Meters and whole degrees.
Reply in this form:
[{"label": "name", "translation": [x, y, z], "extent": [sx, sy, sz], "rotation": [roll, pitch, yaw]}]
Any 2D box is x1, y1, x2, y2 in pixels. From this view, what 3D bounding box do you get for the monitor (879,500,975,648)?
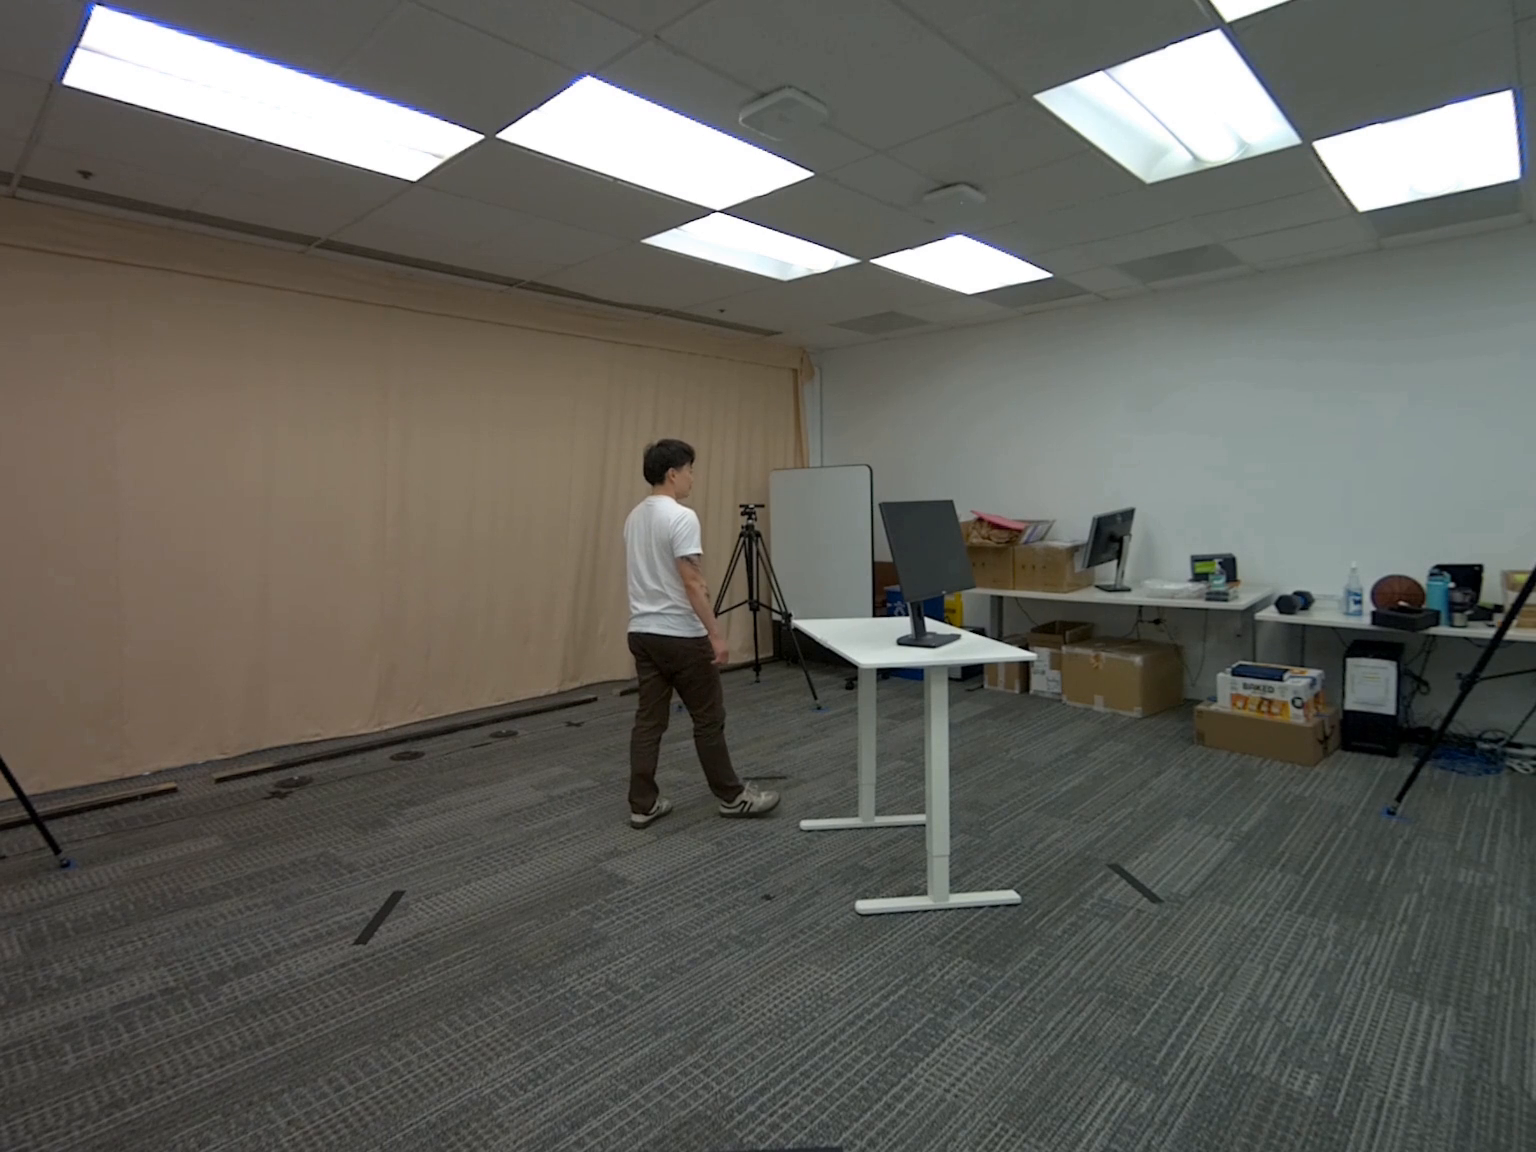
[{"label": "monitor", "translation": [0.583, -0.012, 3.075], "extent": [0.193, 0.522, 0.523], "rotation": [-1, 3, 37]}]
